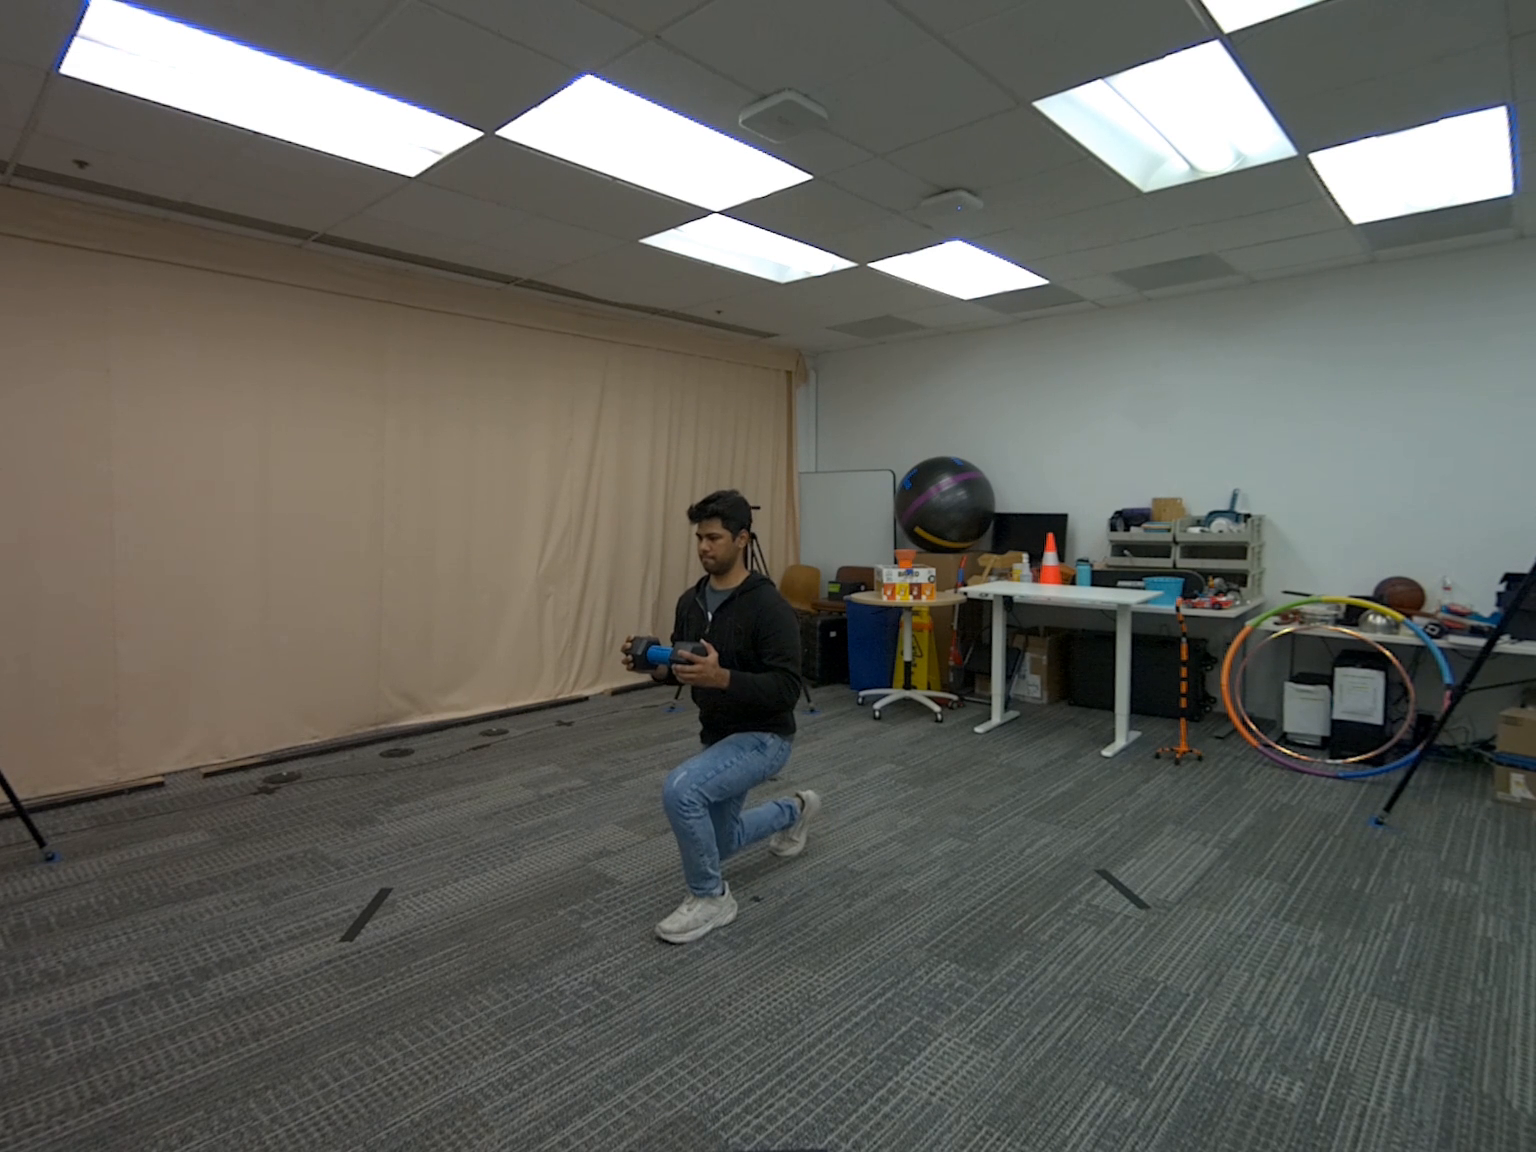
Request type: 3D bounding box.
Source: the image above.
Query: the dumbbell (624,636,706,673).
[{"bbox_3d":[-0.320,0.251,2.718,0.303,0.121,0.107,0,28,45],"label":"dumbbell"}]
